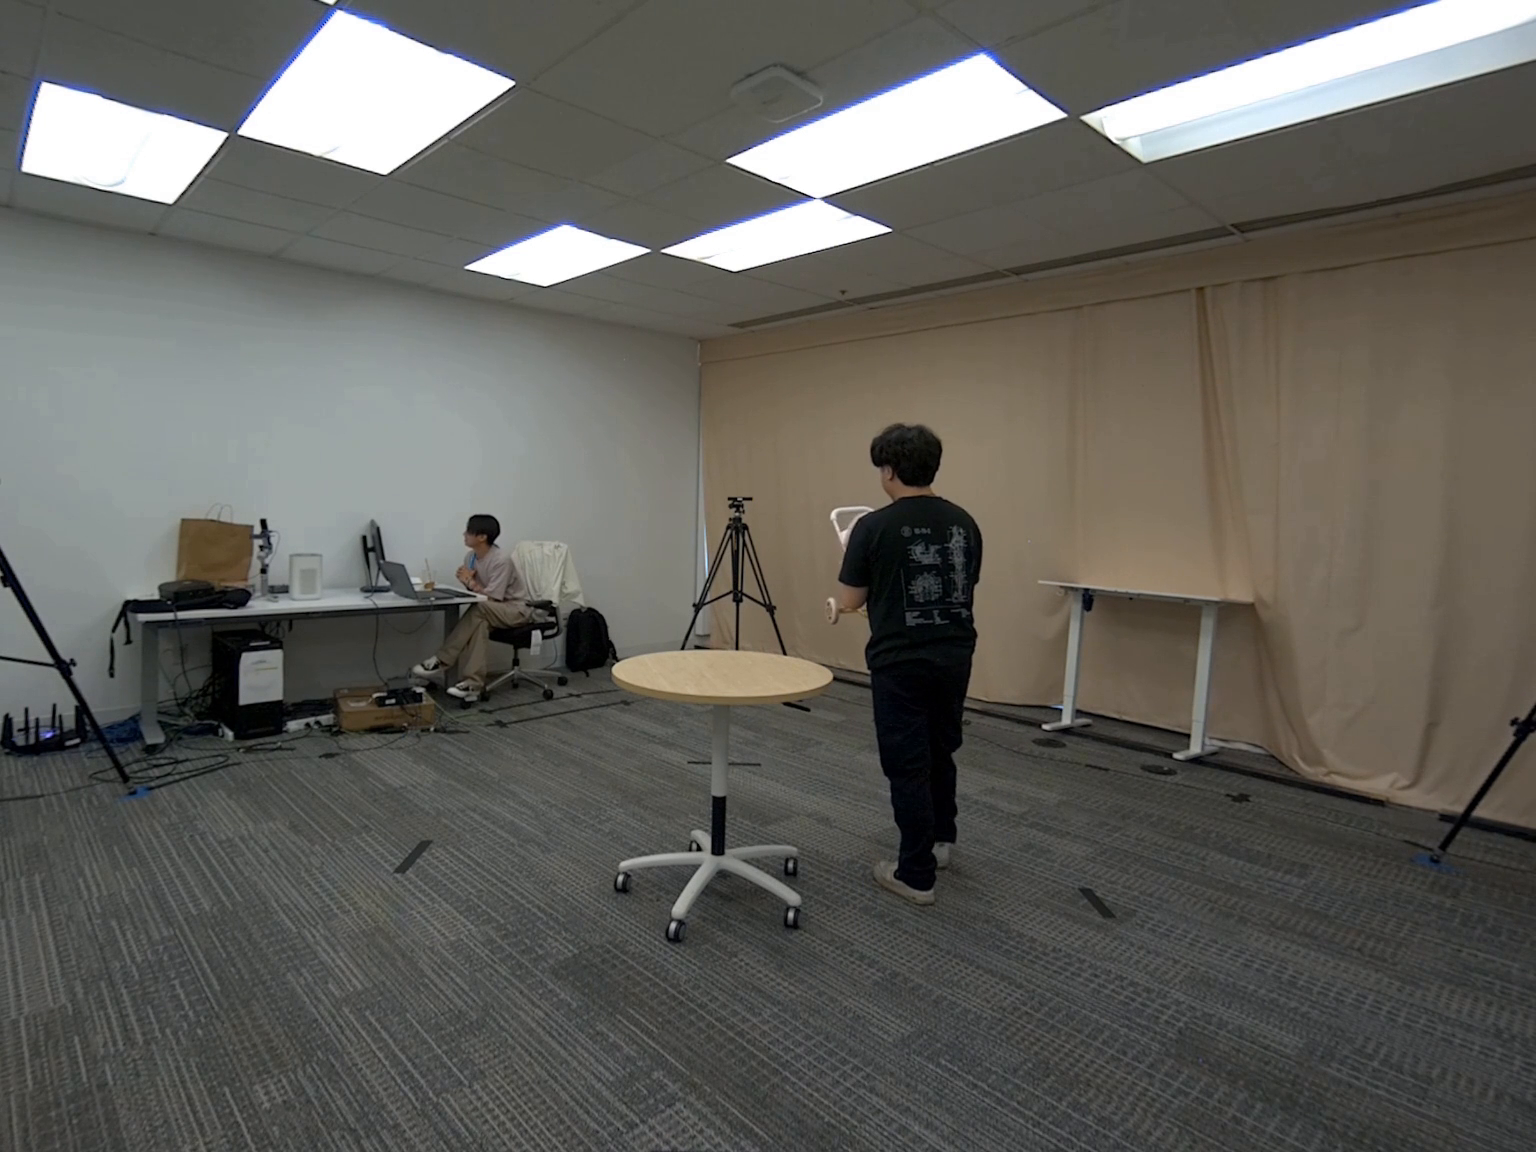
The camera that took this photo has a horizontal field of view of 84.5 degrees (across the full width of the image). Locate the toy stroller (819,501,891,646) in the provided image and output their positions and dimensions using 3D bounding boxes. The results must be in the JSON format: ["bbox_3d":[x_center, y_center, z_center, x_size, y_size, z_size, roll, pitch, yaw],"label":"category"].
[{"bbox_3d":[0.399,-0.017,3.351,0.278,0.535,0.344,-1,-1,-14],"label":"toy stroller"}]
